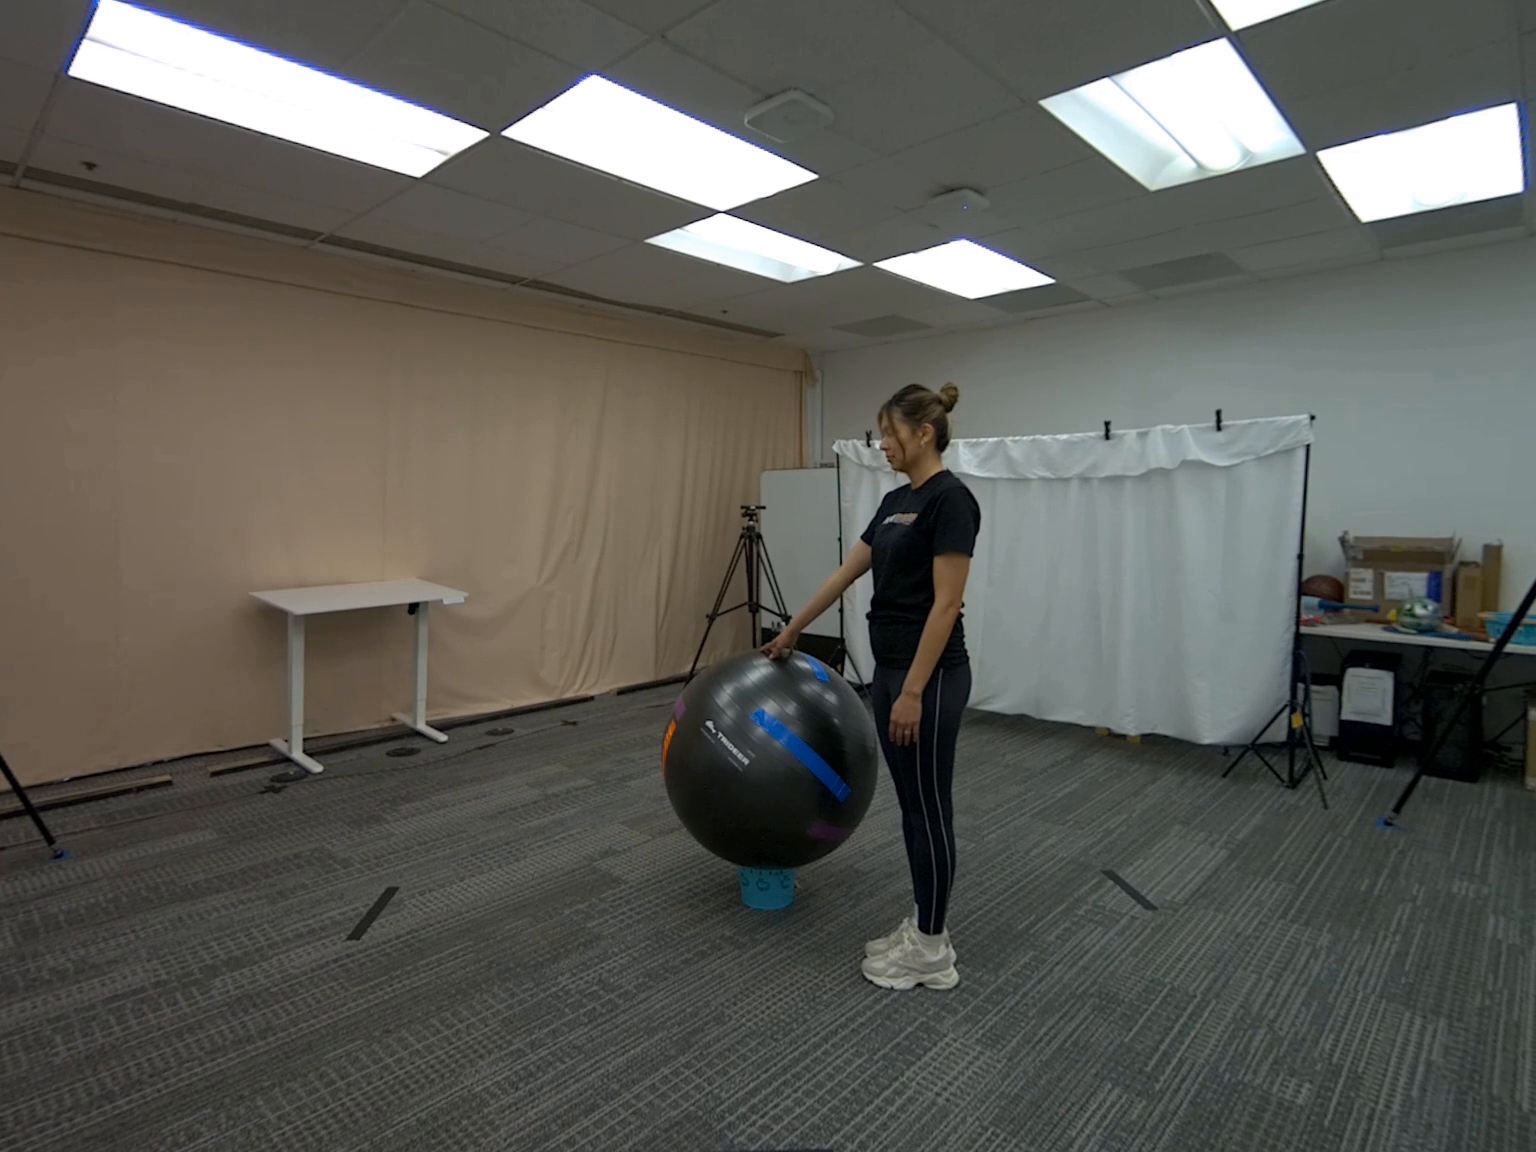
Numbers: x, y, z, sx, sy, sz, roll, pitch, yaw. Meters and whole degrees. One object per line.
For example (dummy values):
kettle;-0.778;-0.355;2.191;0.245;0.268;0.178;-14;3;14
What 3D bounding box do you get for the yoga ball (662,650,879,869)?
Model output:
yoga ball;0.009;0.640;2.964;0.757;0.756;0.760;0;4;-2
